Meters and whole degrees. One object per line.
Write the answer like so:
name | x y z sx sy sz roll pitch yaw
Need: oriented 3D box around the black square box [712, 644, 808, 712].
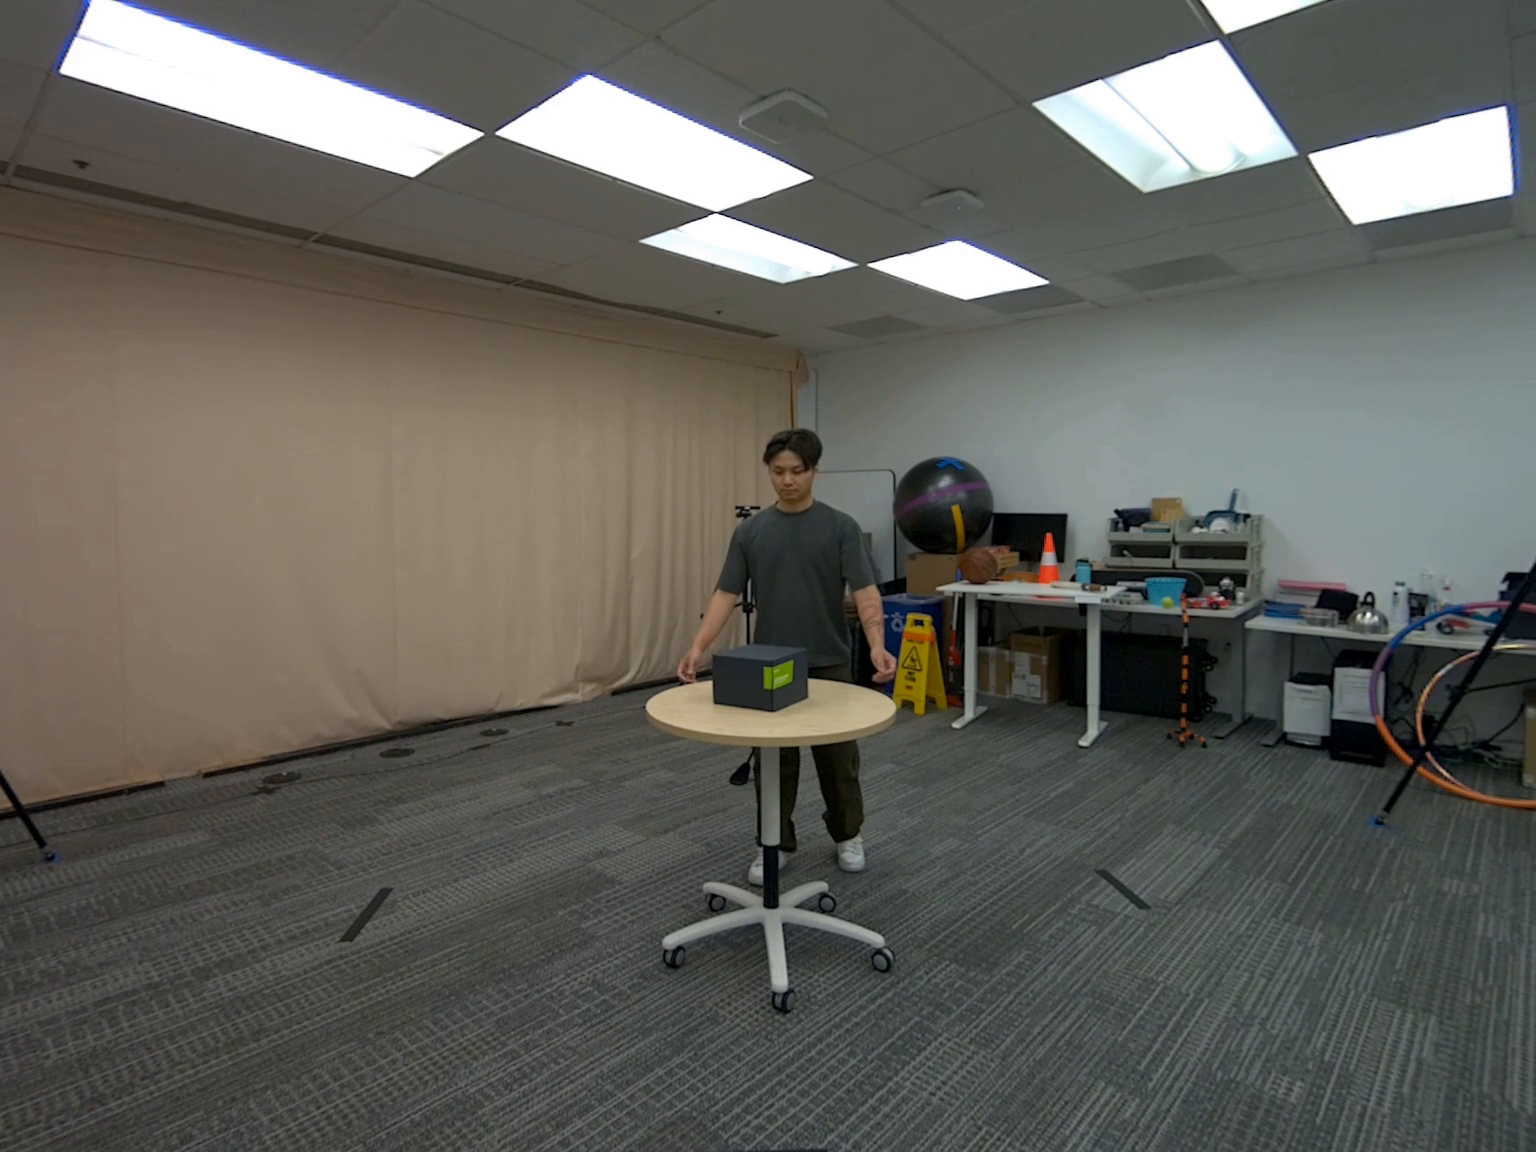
black square box | -0.019 0.312 2.621 0.223 0.155 0.222 3 6 32
